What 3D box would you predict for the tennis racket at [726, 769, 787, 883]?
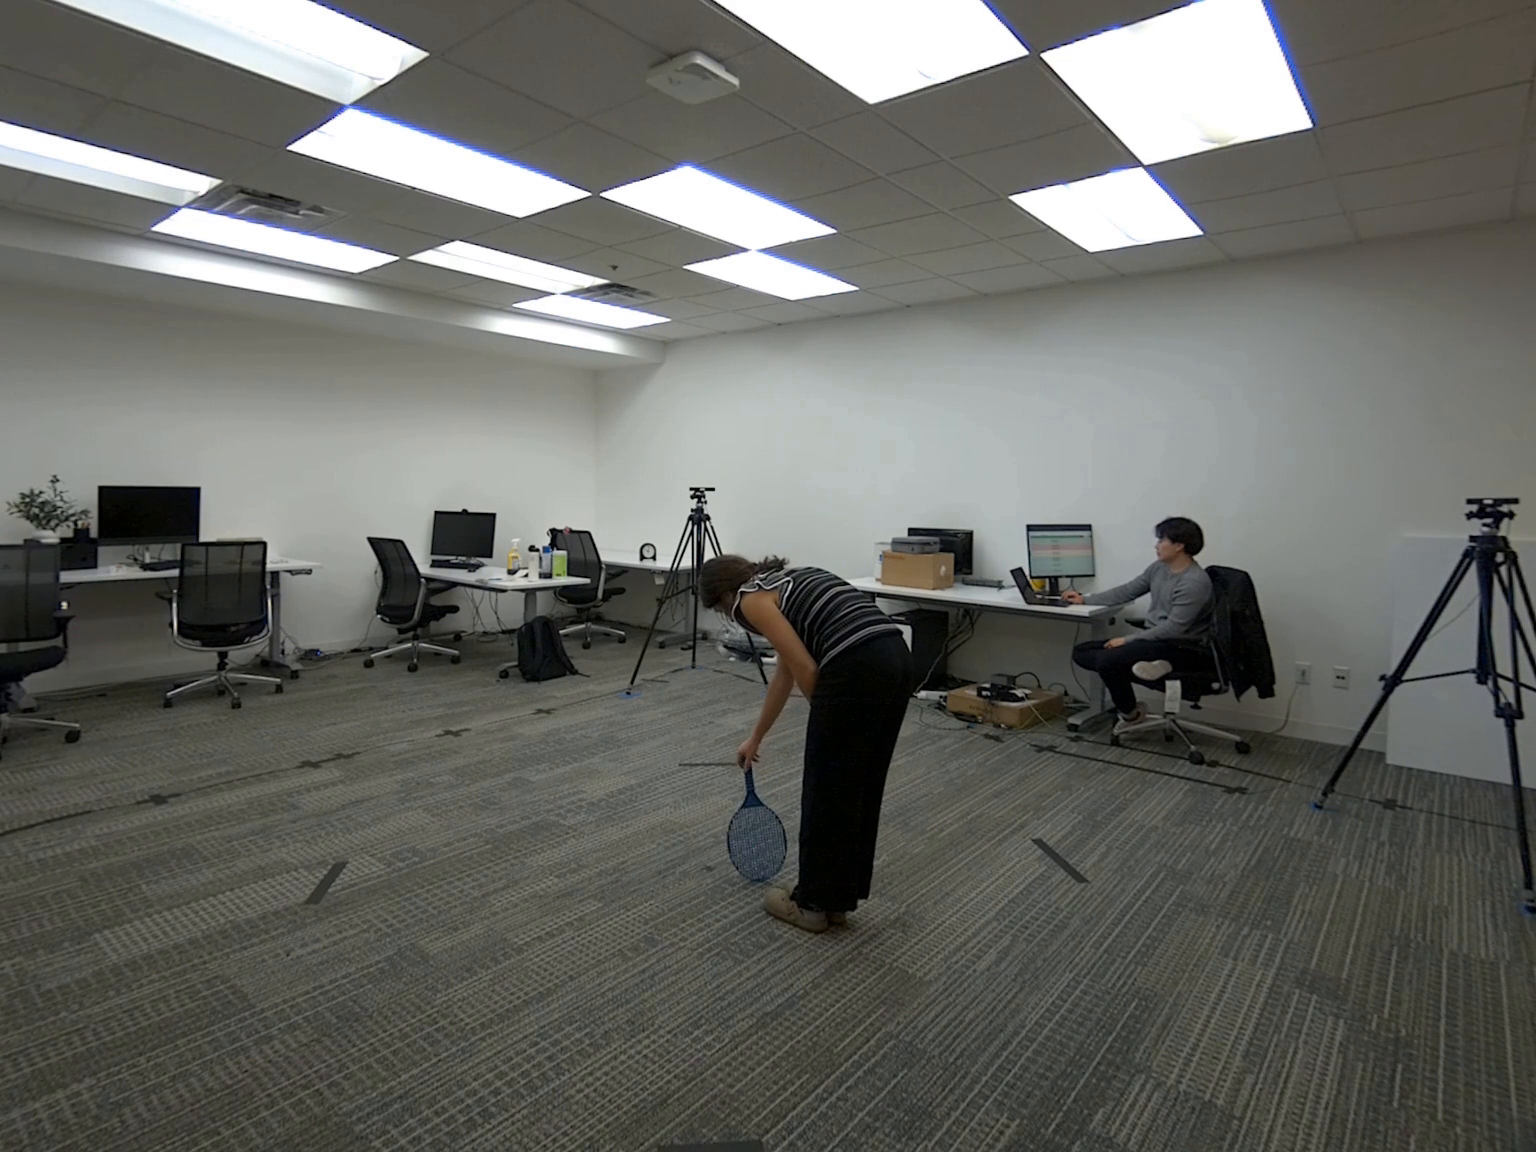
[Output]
[{"bbox_3d":[-0.051,0.864,3.043,0.212,0.437,0.031,-3,-8,-5],"label":"tennis racket"}]
